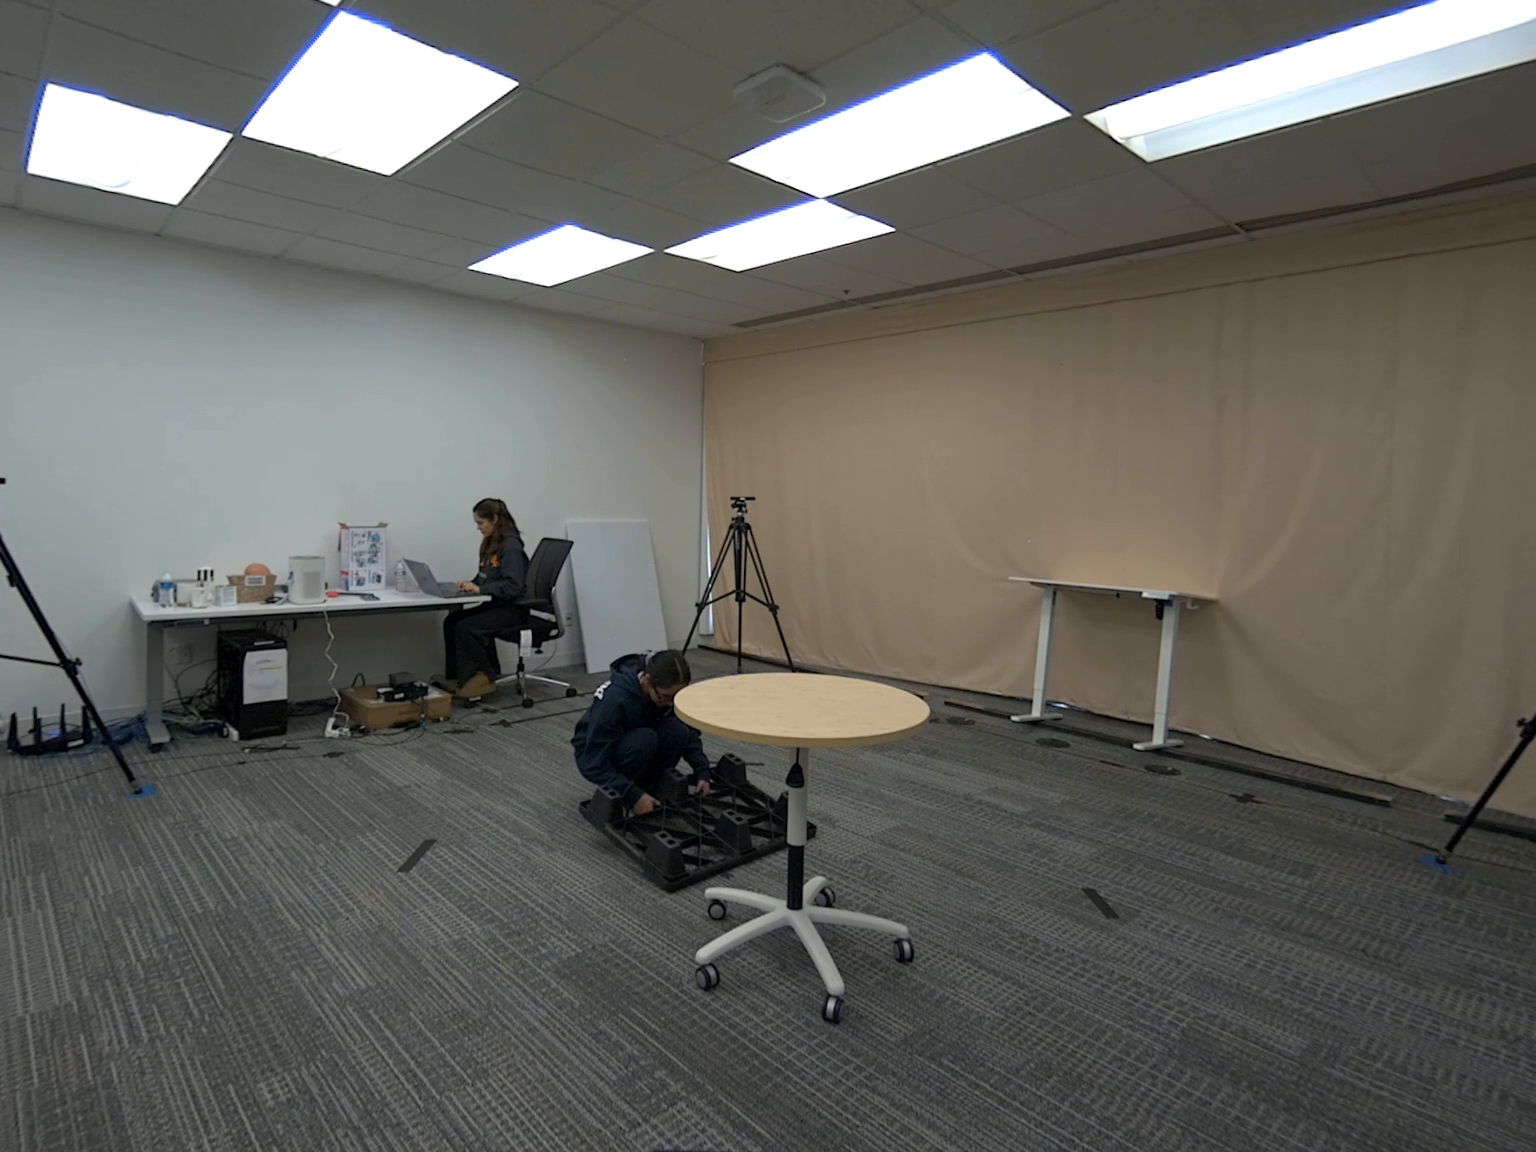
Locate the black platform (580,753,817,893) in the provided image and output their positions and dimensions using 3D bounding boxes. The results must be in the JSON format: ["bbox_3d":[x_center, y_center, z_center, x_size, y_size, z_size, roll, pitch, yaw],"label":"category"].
[{"bbox_3d":[-0.276,0.950,3.409,0.623,0.142,0.787,21,17,41],"label":"black platform"}]
